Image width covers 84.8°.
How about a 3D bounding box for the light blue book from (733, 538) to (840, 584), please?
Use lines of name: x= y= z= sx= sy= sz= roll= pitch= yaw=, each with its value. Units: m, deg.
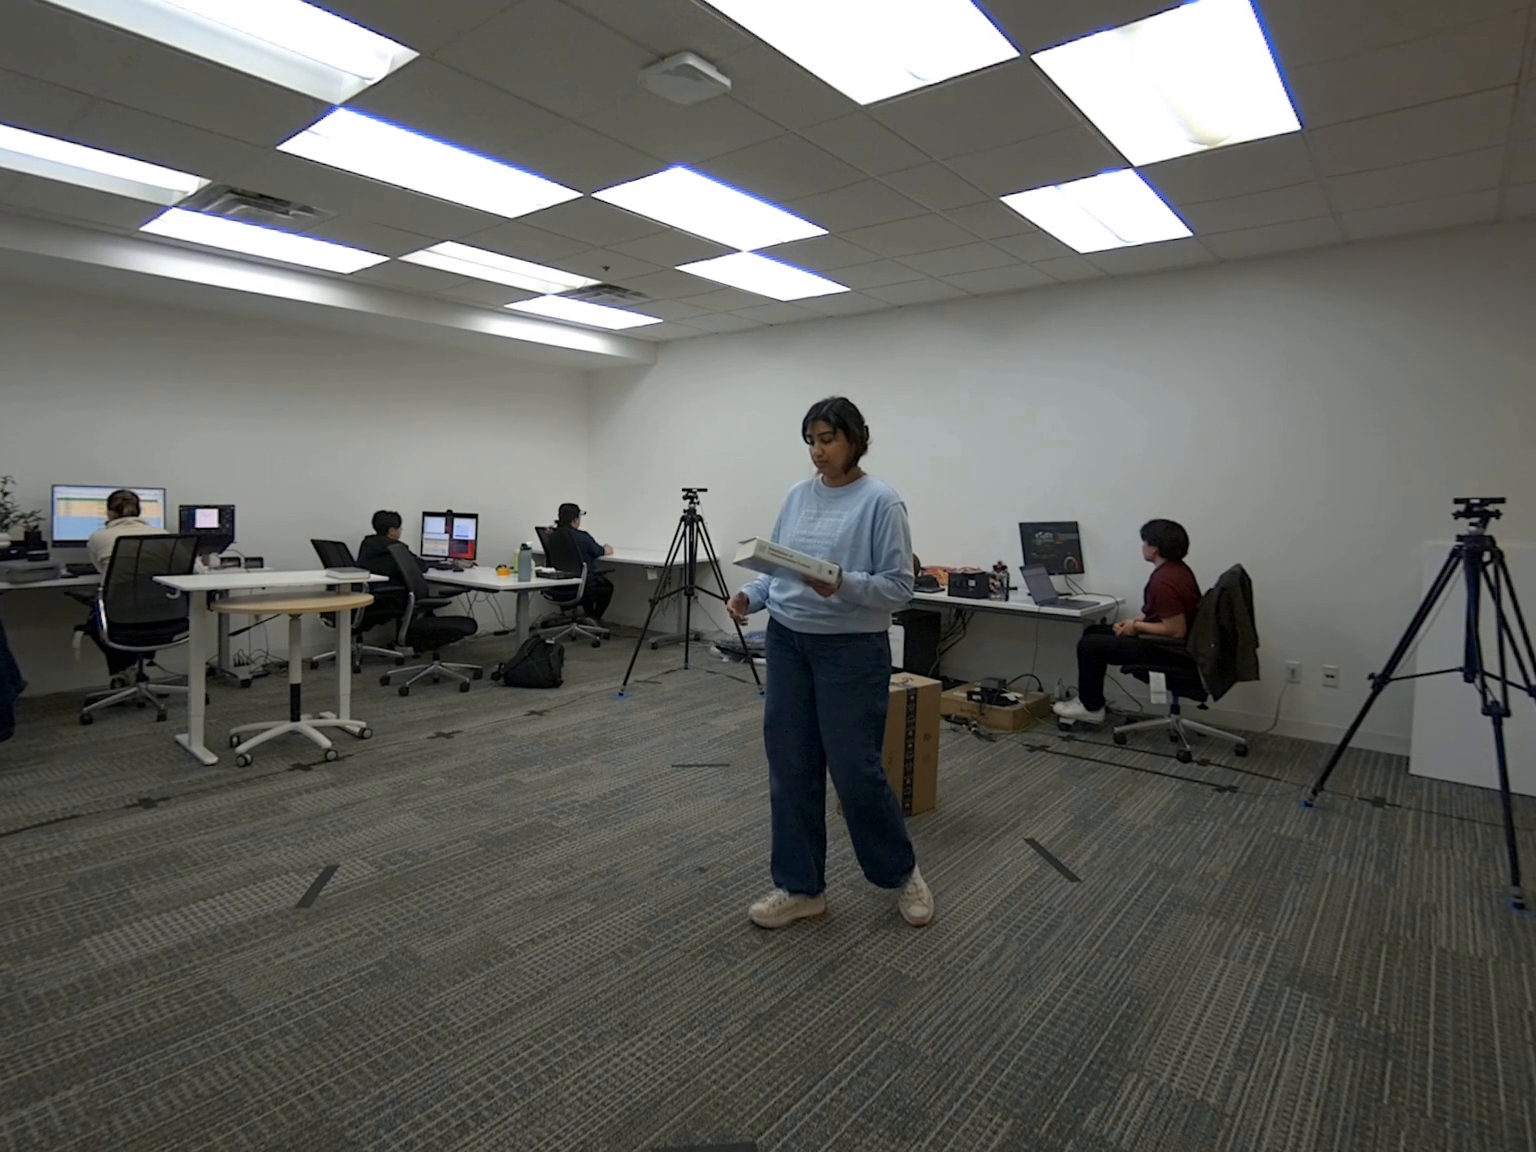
light blue book: x=0.042 y=-0.038 z=2.492 sx=0.256 sy=0.059 sz=0.194 roll=19 pitch=-10 yaw=-15
